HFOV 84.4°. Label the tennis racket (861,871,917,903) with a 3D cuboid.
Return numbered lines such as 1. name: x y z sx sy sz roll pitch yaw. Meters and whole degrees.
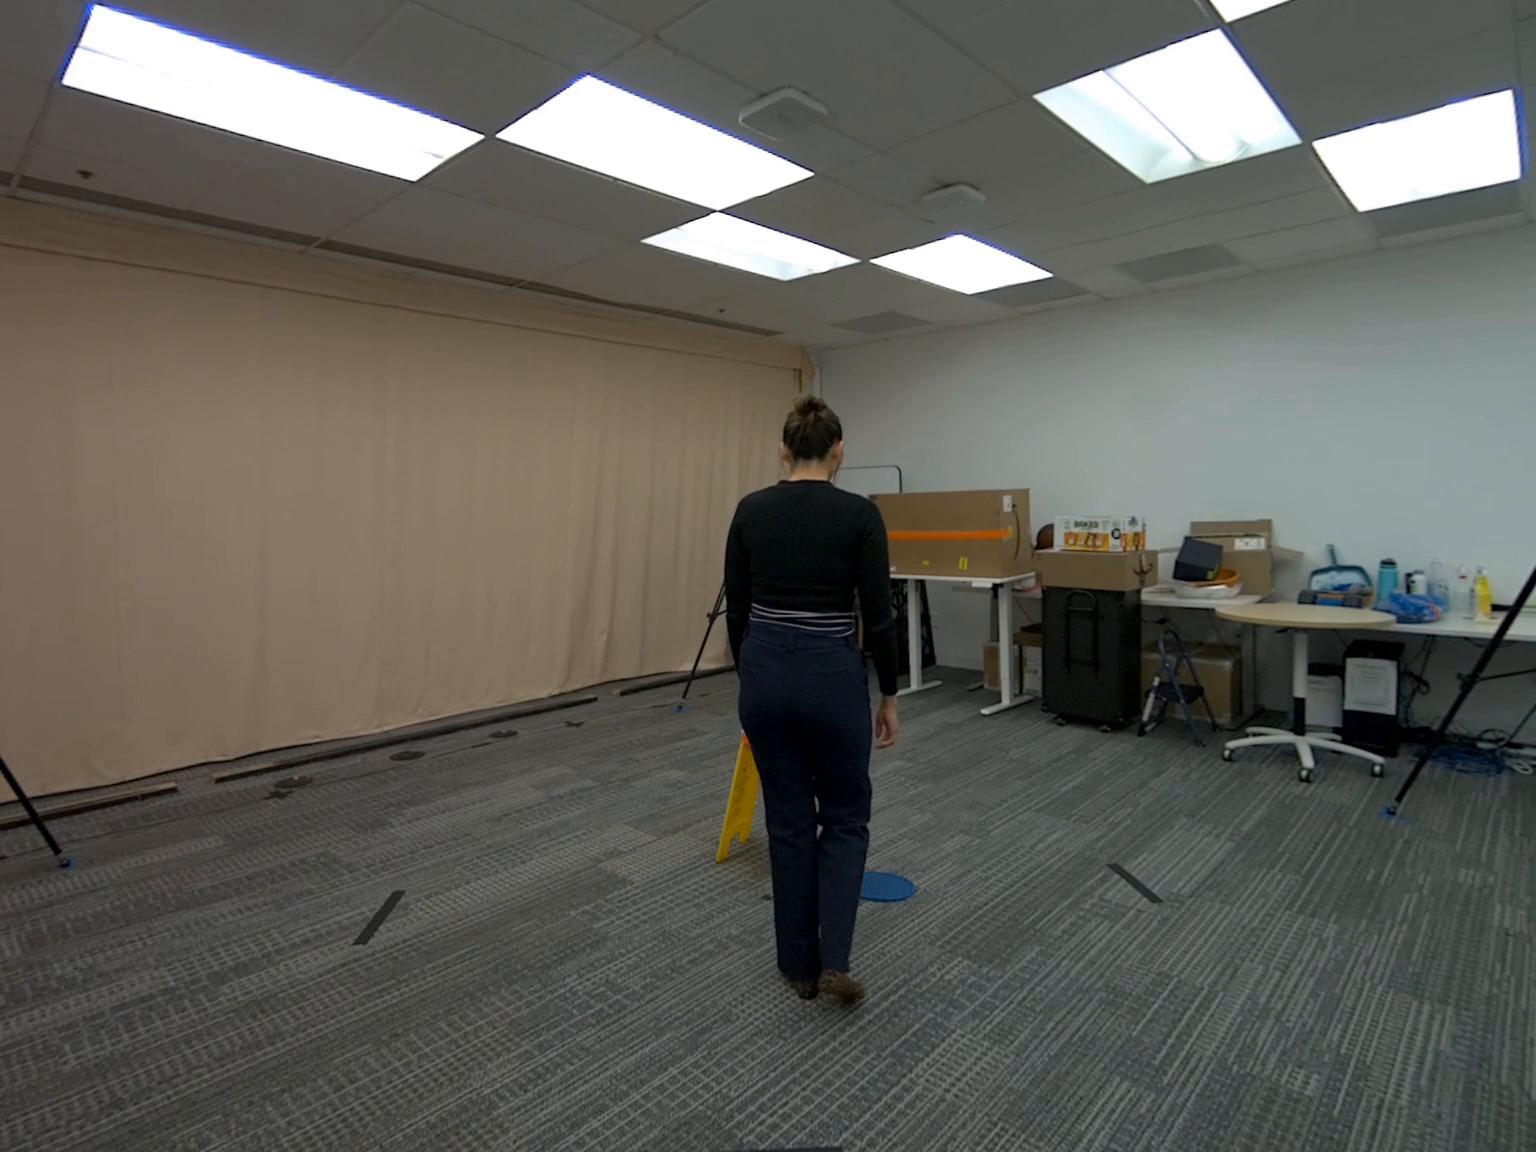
1. tennis racket: 0.318 1.111 3.042 0.435 0.031 0.213 1 5 4
